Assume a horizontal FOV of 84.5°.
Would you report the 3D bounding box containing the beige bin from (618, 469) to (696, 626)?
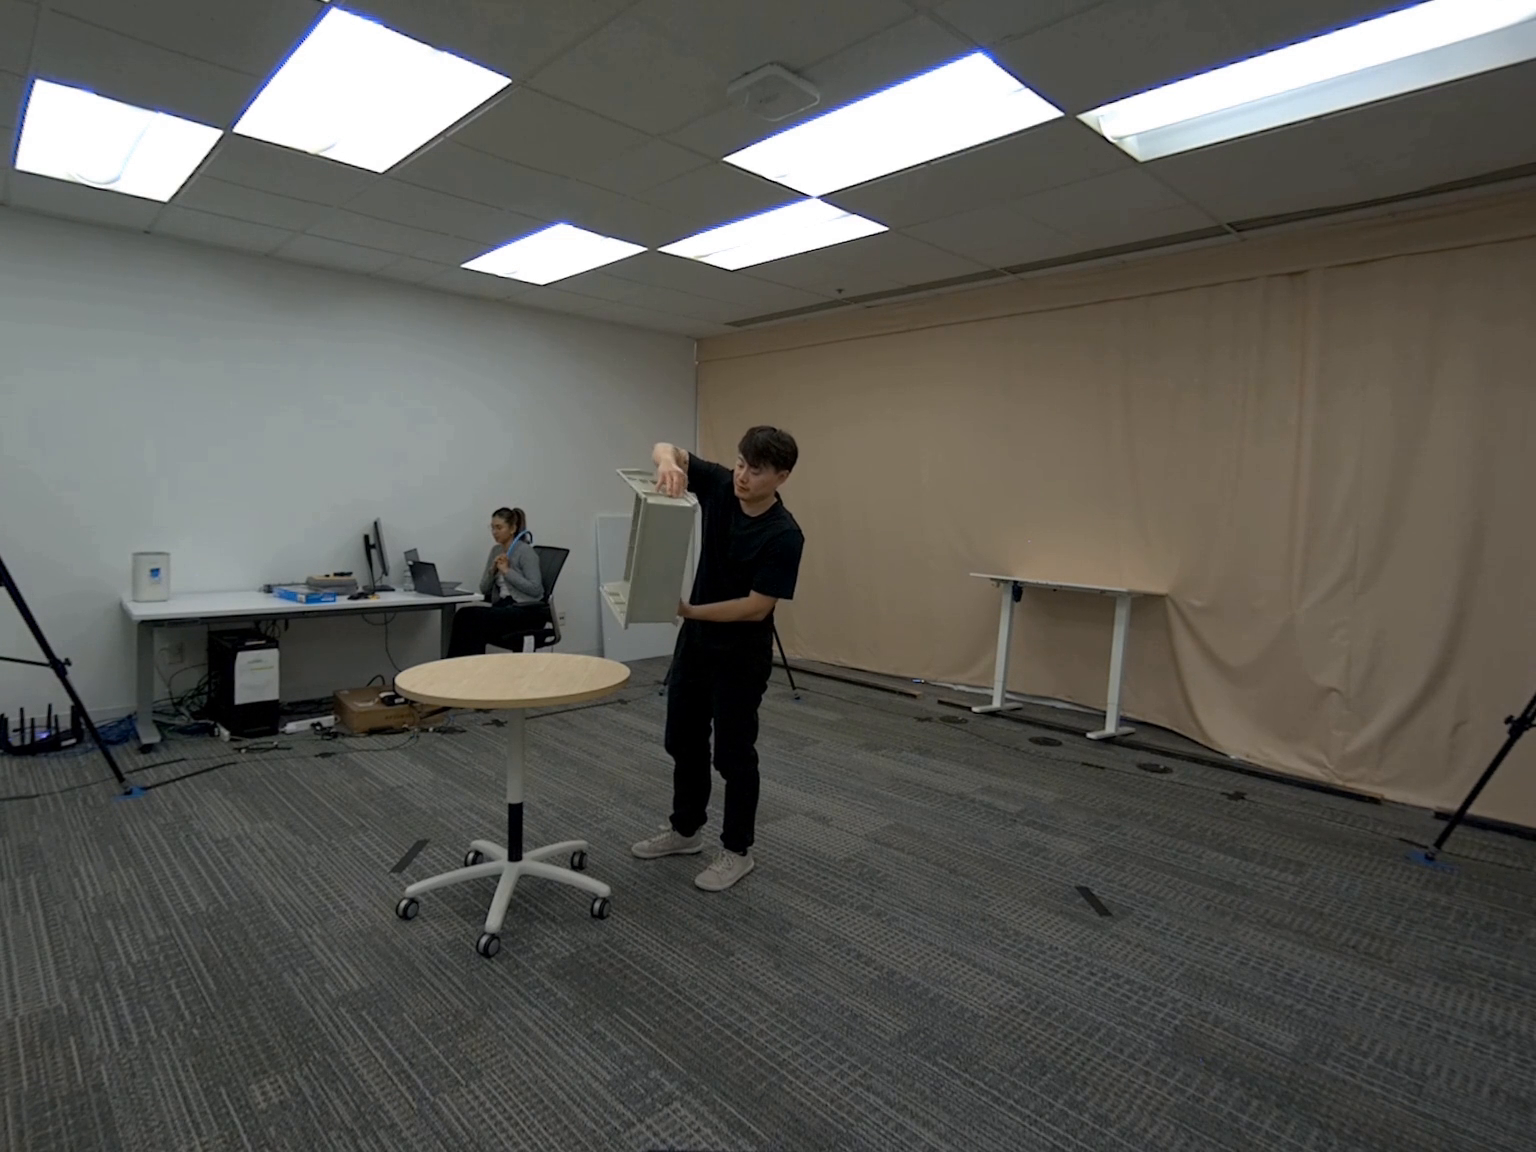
[{"bbox_3d":[-0.400,-0.096,2.713,0.185,0.418,0.388,3,18,-29],"label":"beige bin"}]
